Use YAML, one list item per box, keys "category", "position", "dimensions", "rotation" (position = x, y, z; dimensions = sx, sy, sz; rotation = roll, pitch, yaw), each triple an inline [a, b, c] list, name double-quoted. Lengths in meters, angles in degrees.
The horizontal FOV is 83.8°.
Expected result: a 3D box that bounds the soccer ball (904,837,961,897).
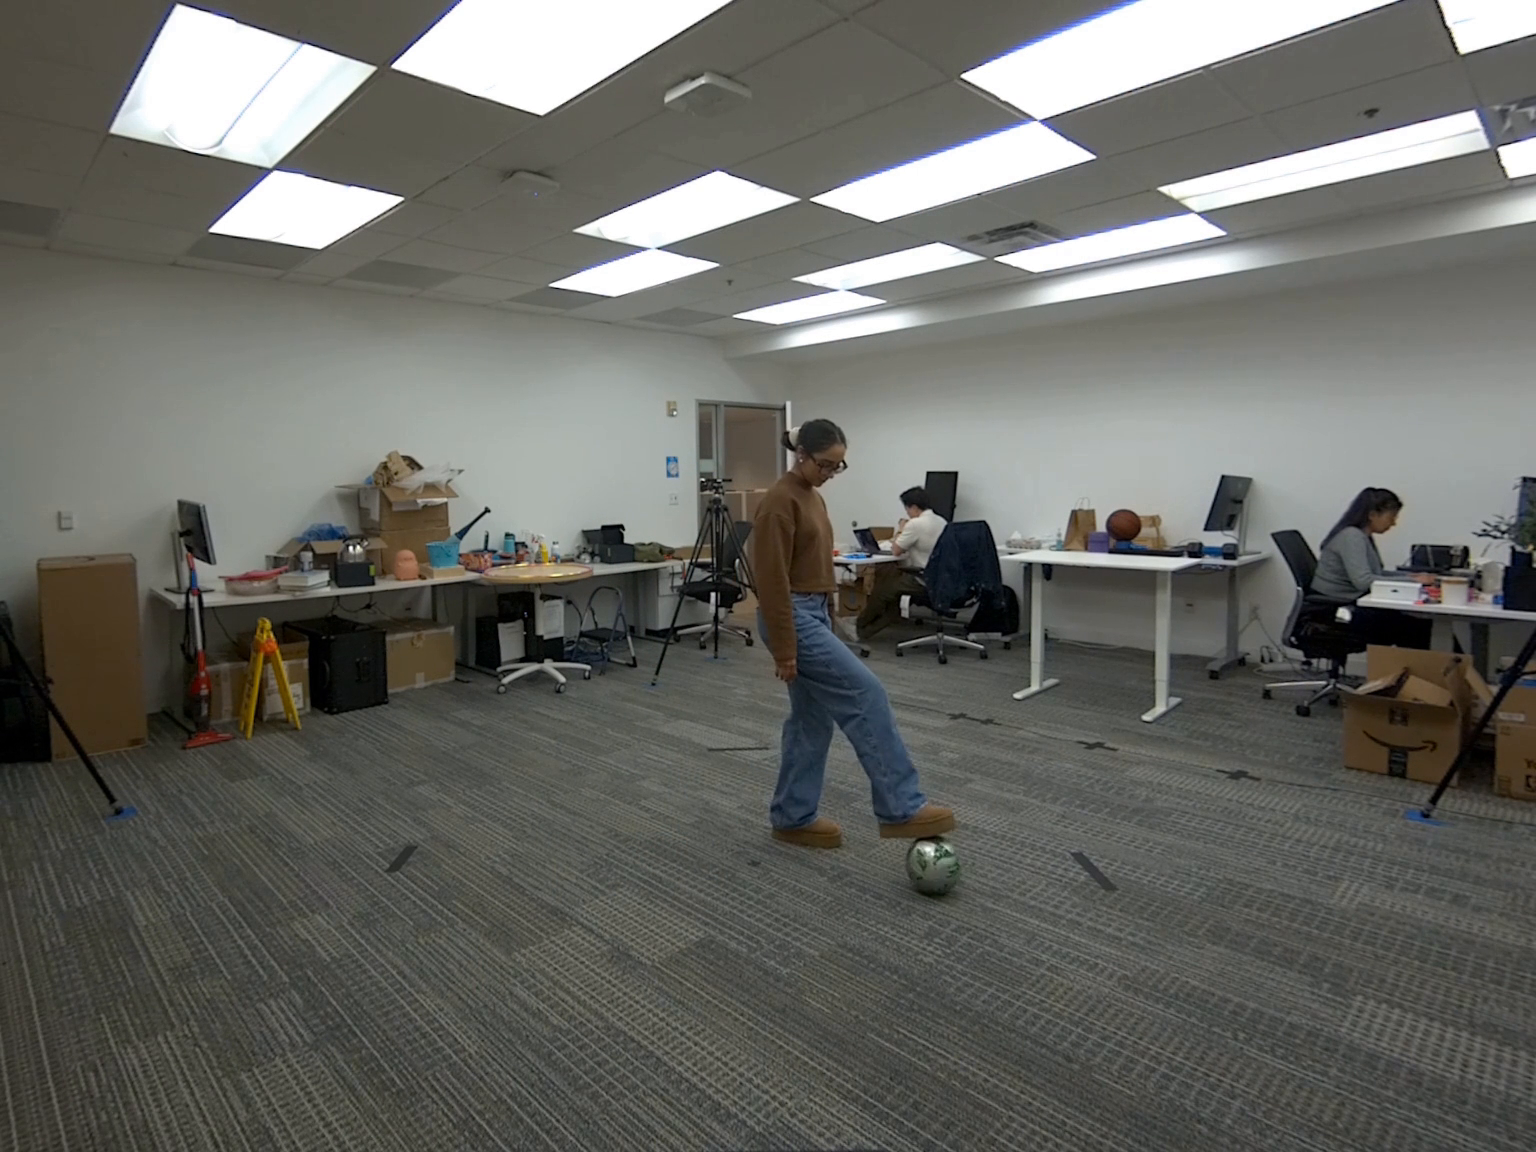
- category: "soccer ball"
  position: [0.551, 0.968, 2.880]
  dimensions: [0.187, 0.187, 0.188]
  rotation: [-1, 5, -2]
